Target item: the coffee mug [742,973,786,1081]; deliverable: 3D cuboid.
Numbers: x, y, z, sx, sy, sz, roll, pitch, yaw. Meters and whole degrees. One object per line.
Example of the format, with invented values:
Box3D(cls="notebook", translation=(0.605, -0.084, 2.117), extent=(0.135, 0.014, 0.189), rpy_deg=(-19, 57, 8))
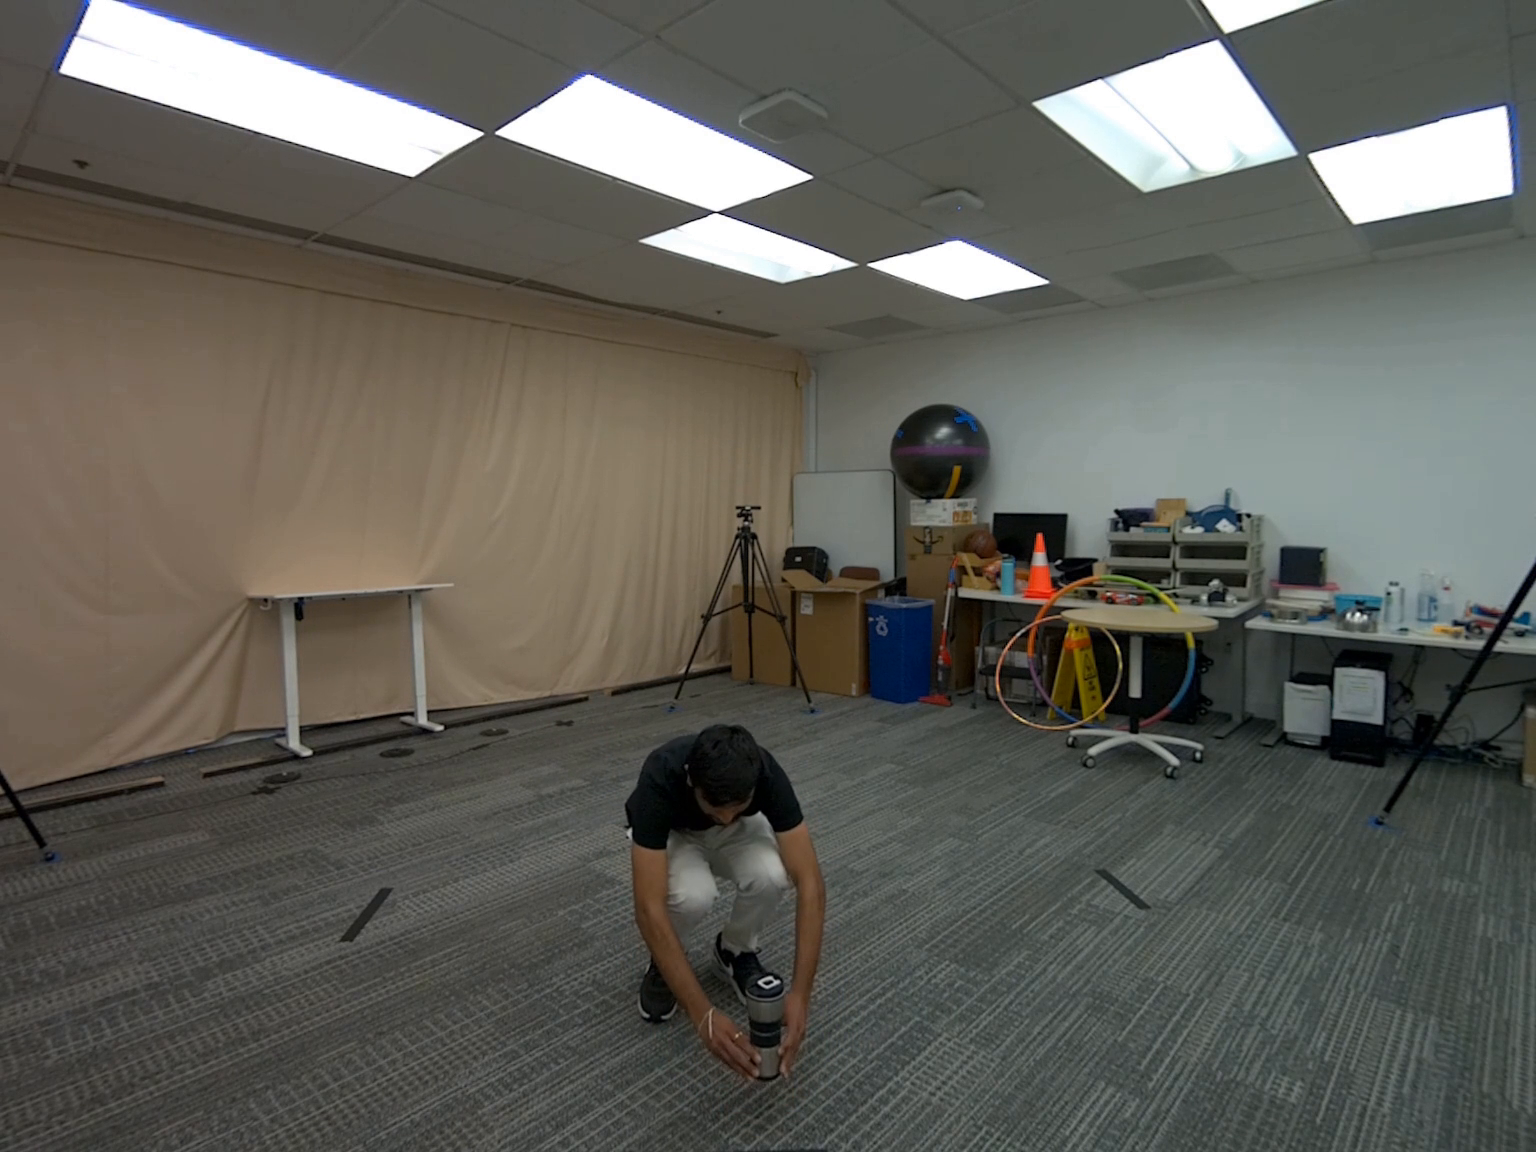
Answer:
Box3D(cls="coffee mug", translation=(-0.002, 1.001, 1.902), extent=(0.088, 0.202, 0.122), rpy_deg=(-2, 5, 4))
